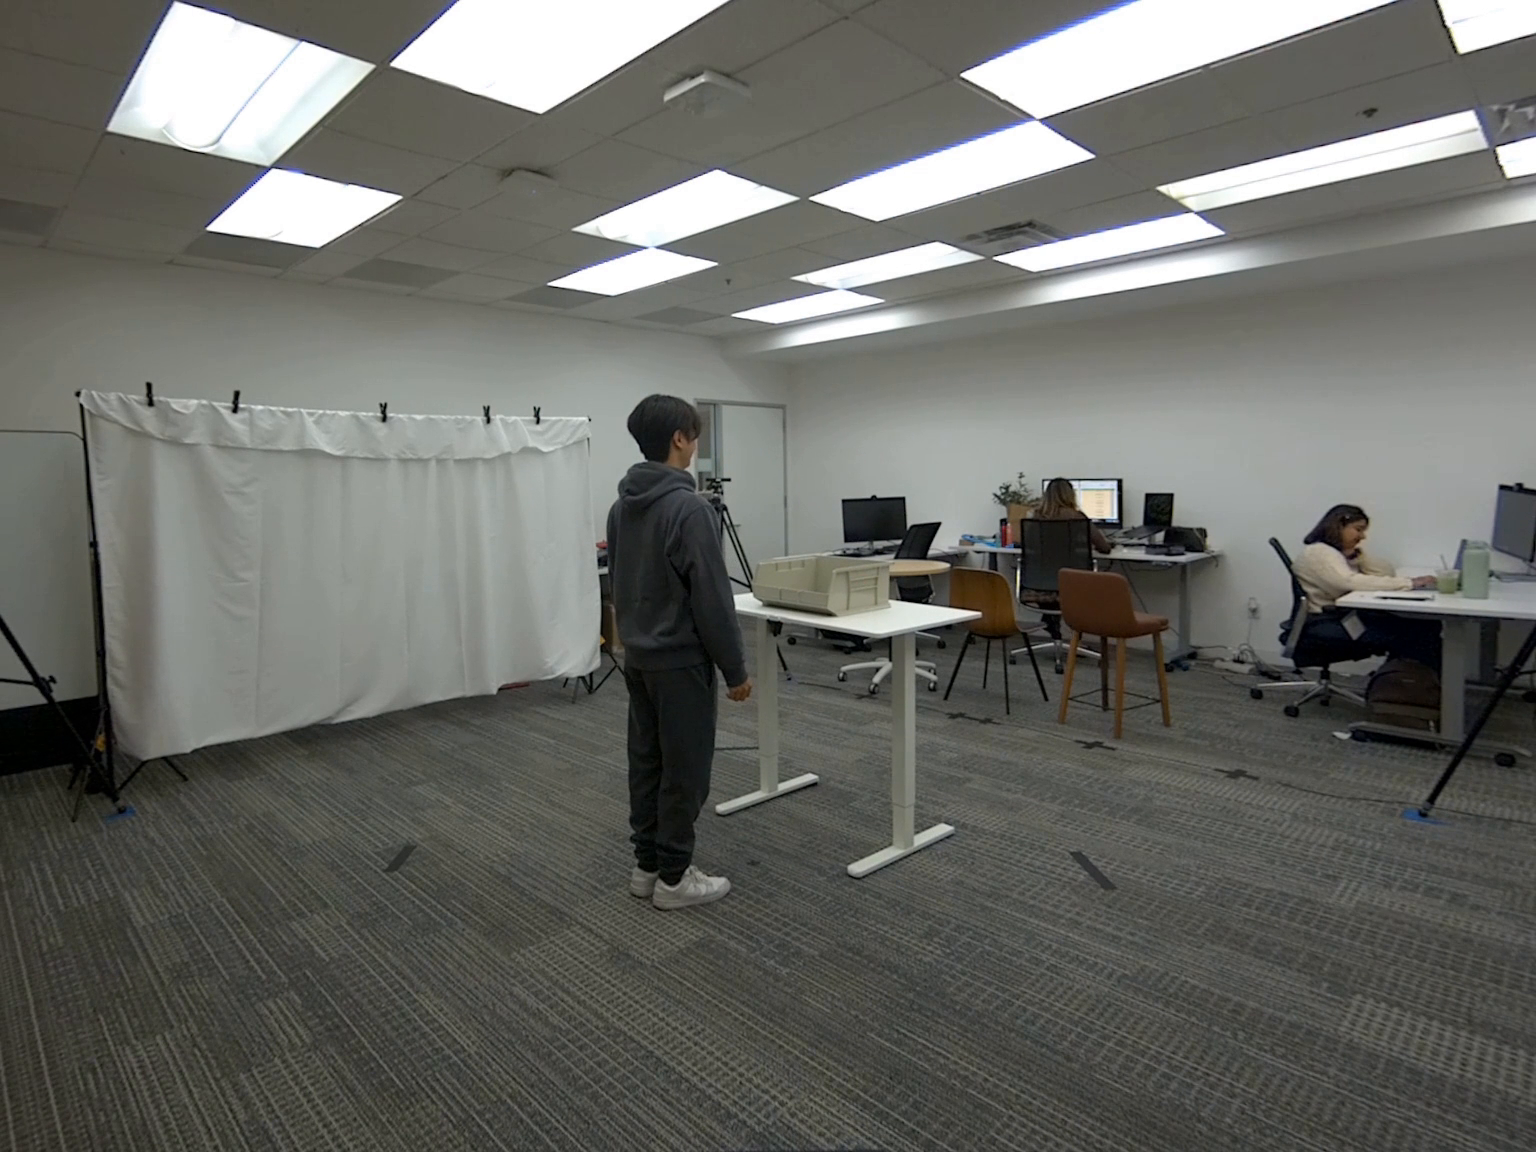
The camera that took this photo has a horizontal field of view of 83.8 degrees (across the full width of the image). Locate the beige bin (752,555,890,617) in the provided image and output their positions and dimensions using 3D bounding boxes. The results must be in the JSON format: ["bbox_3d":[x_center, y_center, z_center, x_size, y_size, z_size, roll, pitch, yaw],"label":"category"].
[{"bbox_3d":[0.217,0.035,3.377,0.367,0.188,0.435,-6,8,-41],"label":"beige bin"}]
